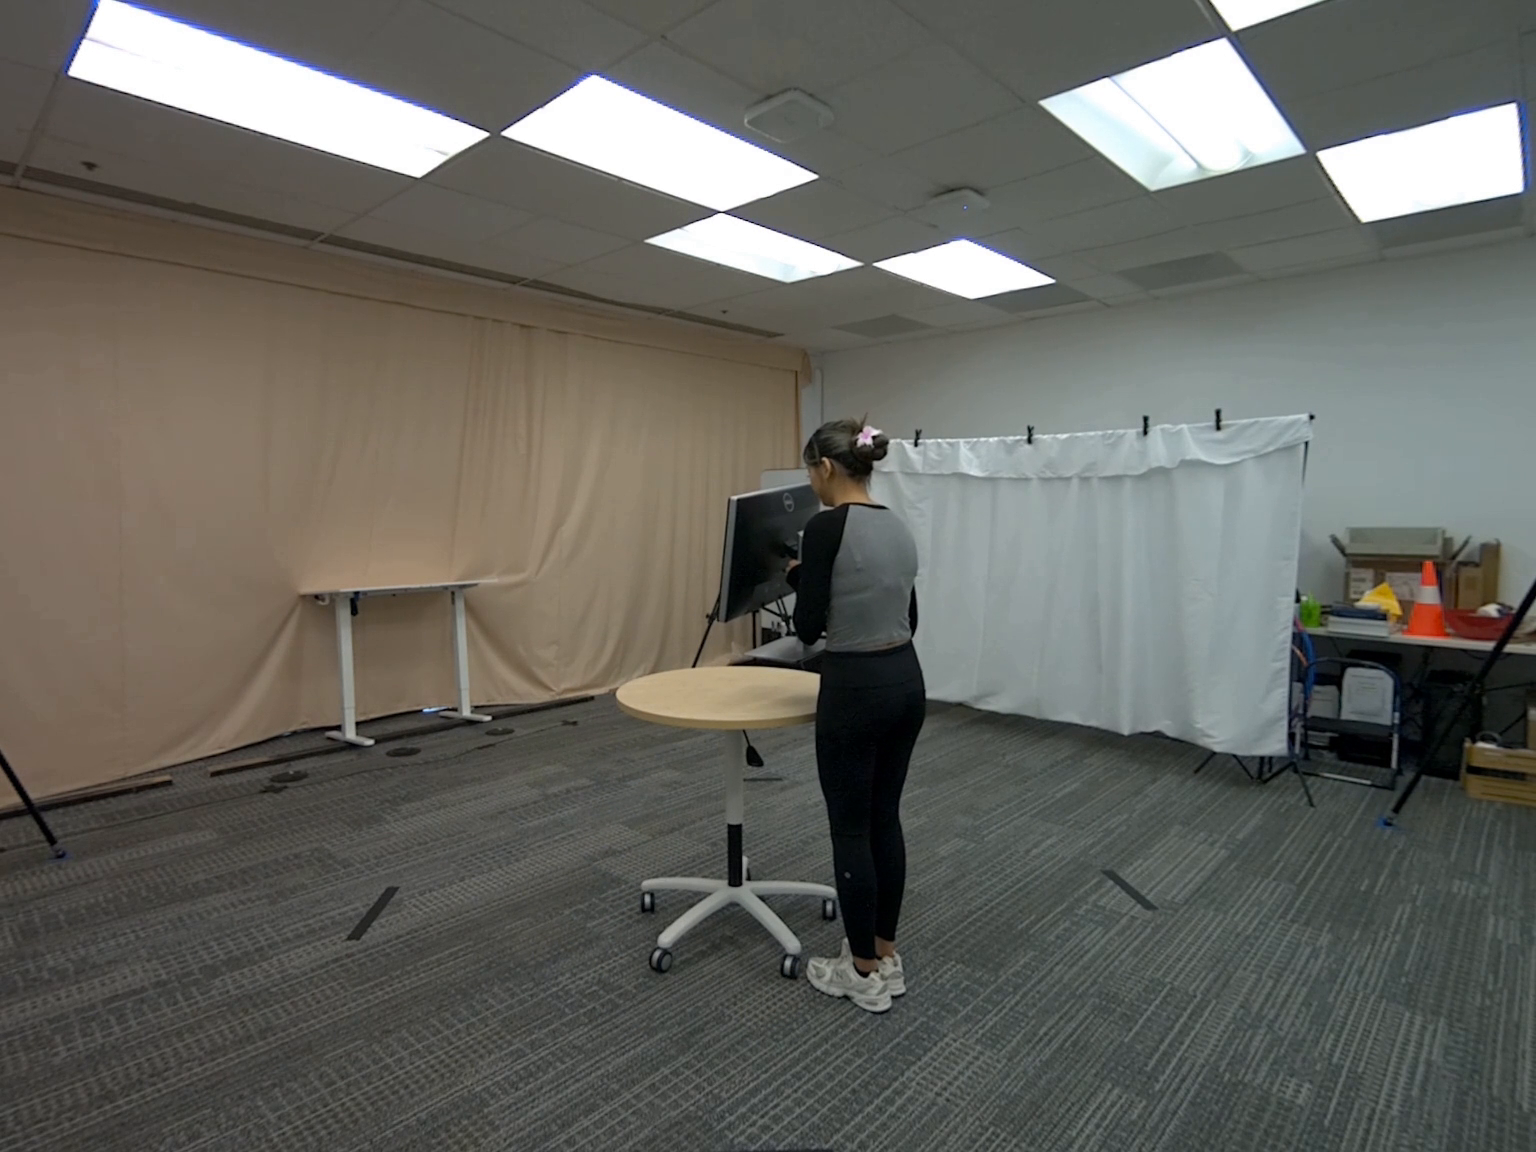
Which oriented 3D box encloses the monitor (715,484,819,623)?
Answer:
[{"bbox_3d":[0.063,-0.010,2.554,0.192,0.520,0.528,-2,9,27],"label":"monitor"}]
